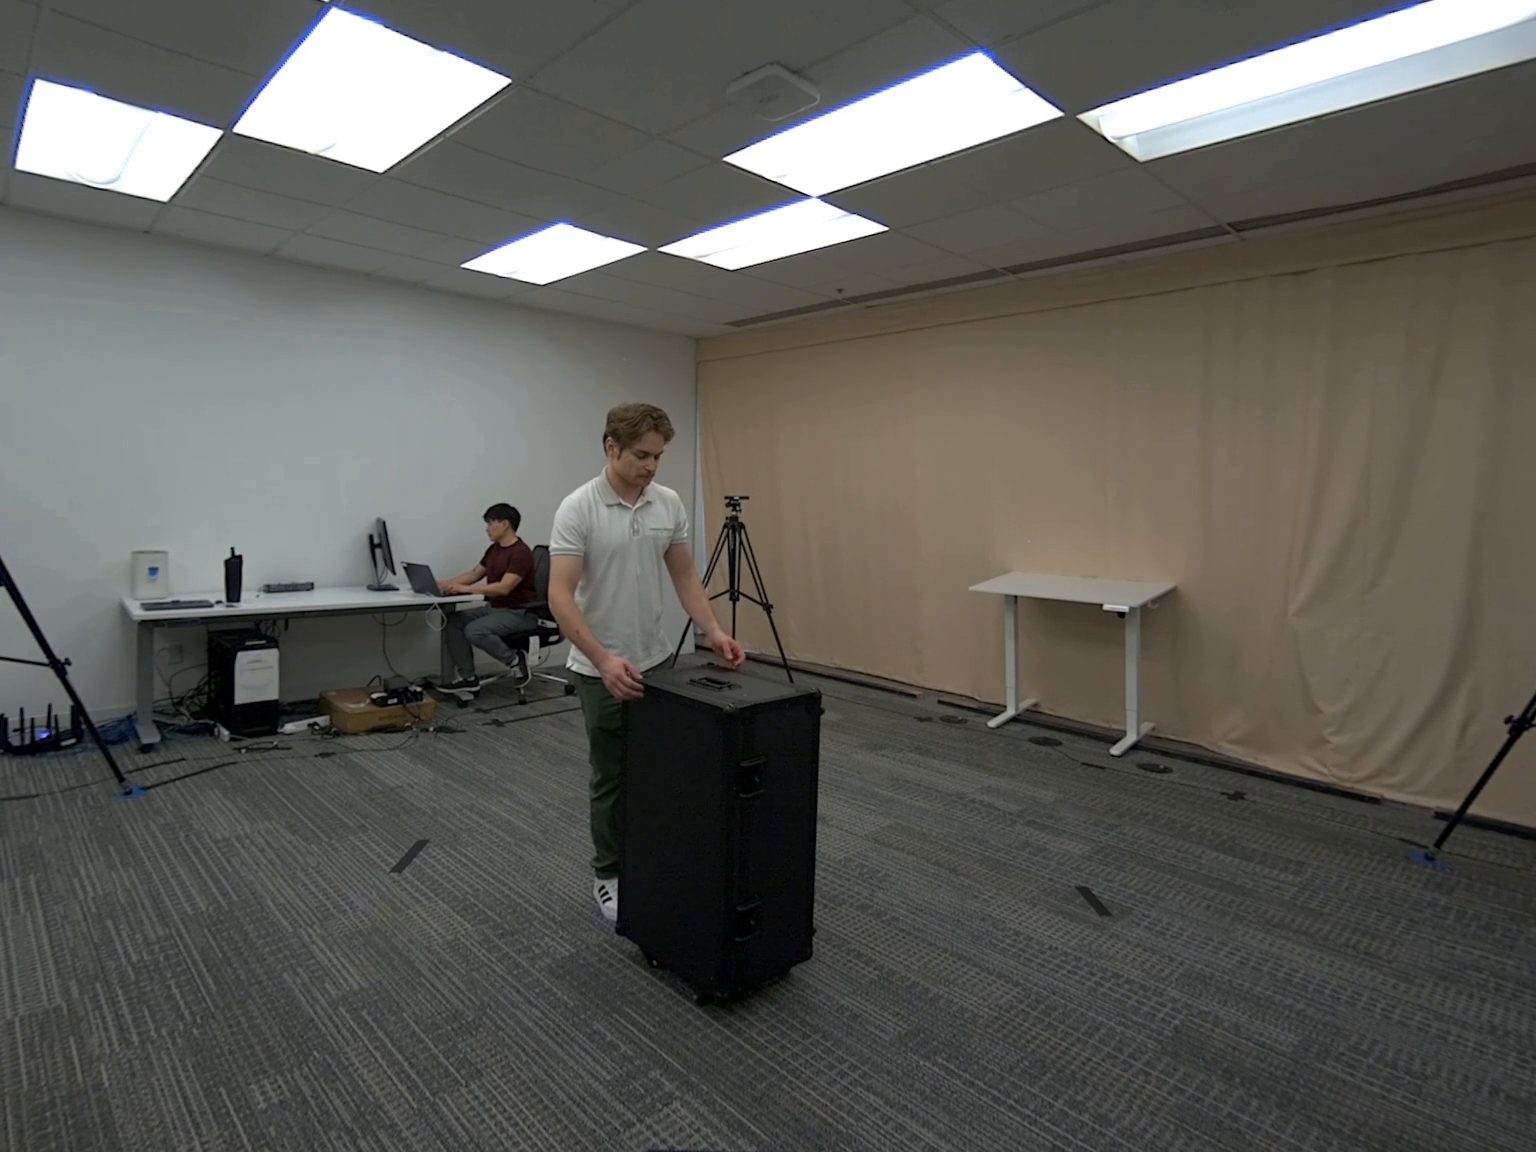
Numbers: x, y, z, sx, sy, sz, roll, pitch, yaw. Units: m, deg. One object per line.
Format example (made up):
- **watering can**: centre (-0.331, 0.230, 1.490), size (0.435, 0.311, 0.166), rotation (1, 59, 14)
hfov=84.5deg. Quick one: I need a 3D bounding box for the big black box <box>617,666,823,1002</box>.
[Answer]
- **big black box**: centre (-0.157, 0.743, 2.463), size (0.376, 0.866, 0.537), rotation (-1, 5, -45)
